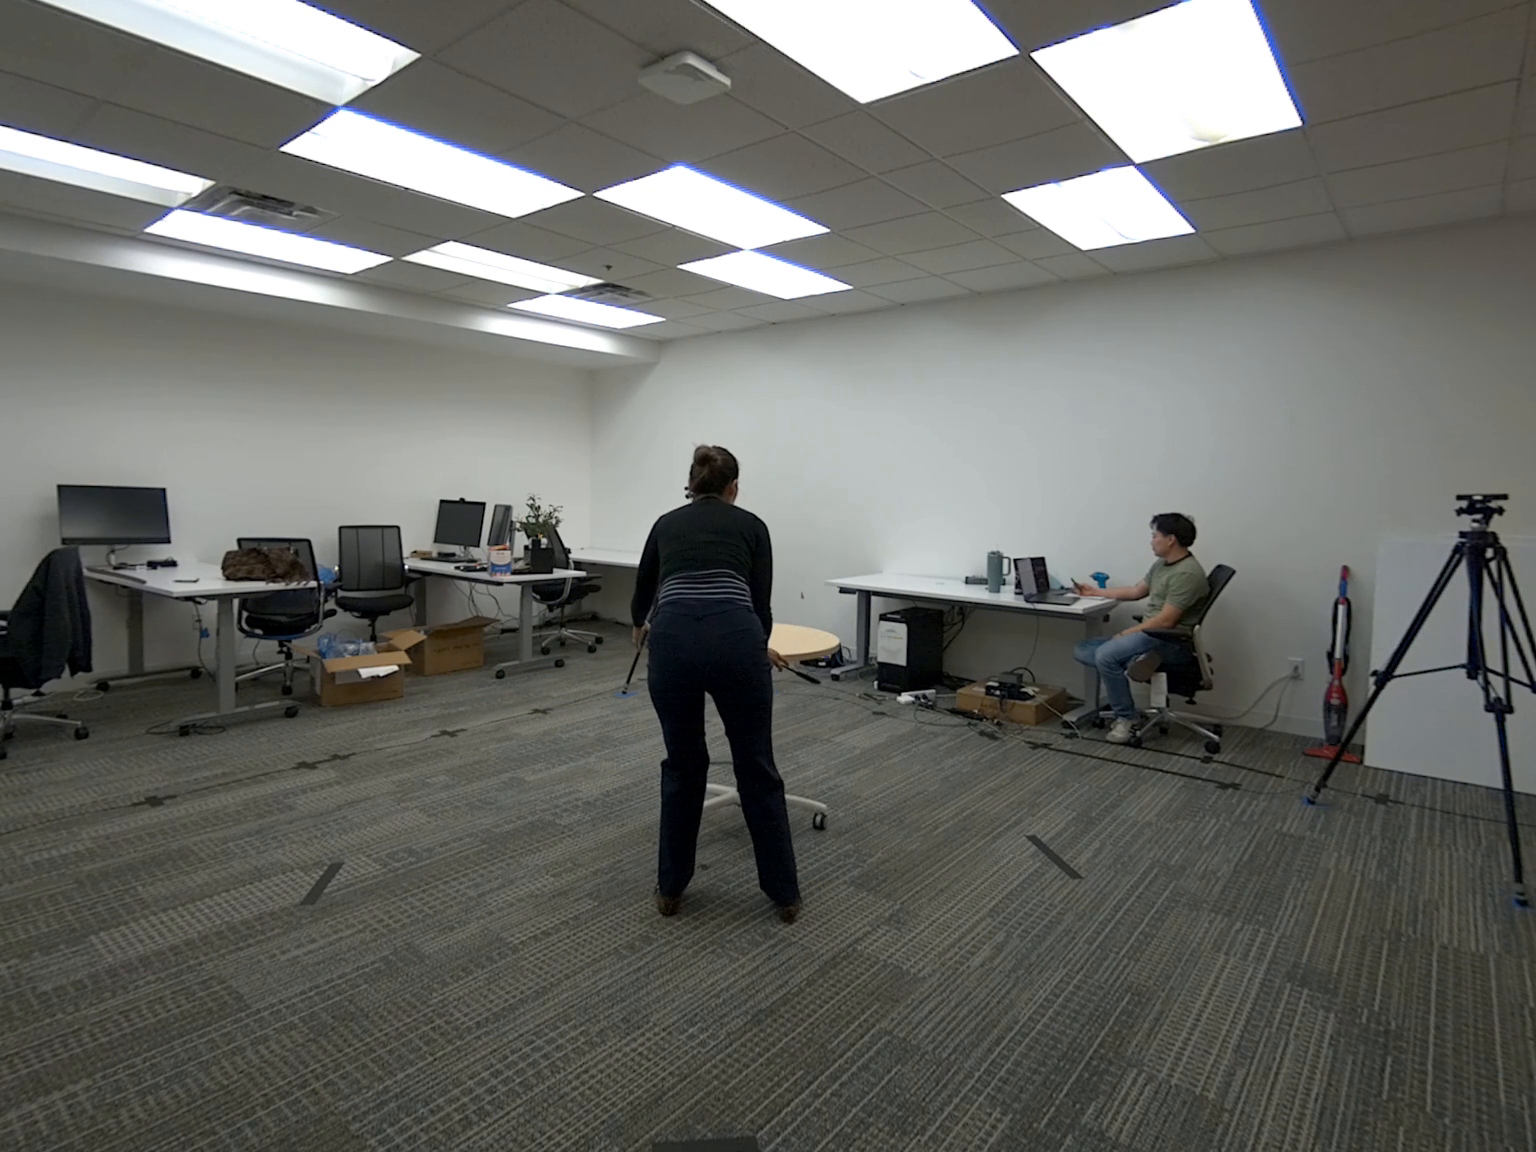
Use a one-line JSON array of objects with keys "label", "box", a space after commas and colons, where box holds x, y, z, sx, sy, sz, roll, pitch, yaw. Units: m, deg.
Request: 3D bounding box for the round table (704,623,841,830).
[{"label": "round table", "box": [-0.108, 0.636, 3.499, 0.763, 0.791, 0.768, 1, 4, -2]}]
